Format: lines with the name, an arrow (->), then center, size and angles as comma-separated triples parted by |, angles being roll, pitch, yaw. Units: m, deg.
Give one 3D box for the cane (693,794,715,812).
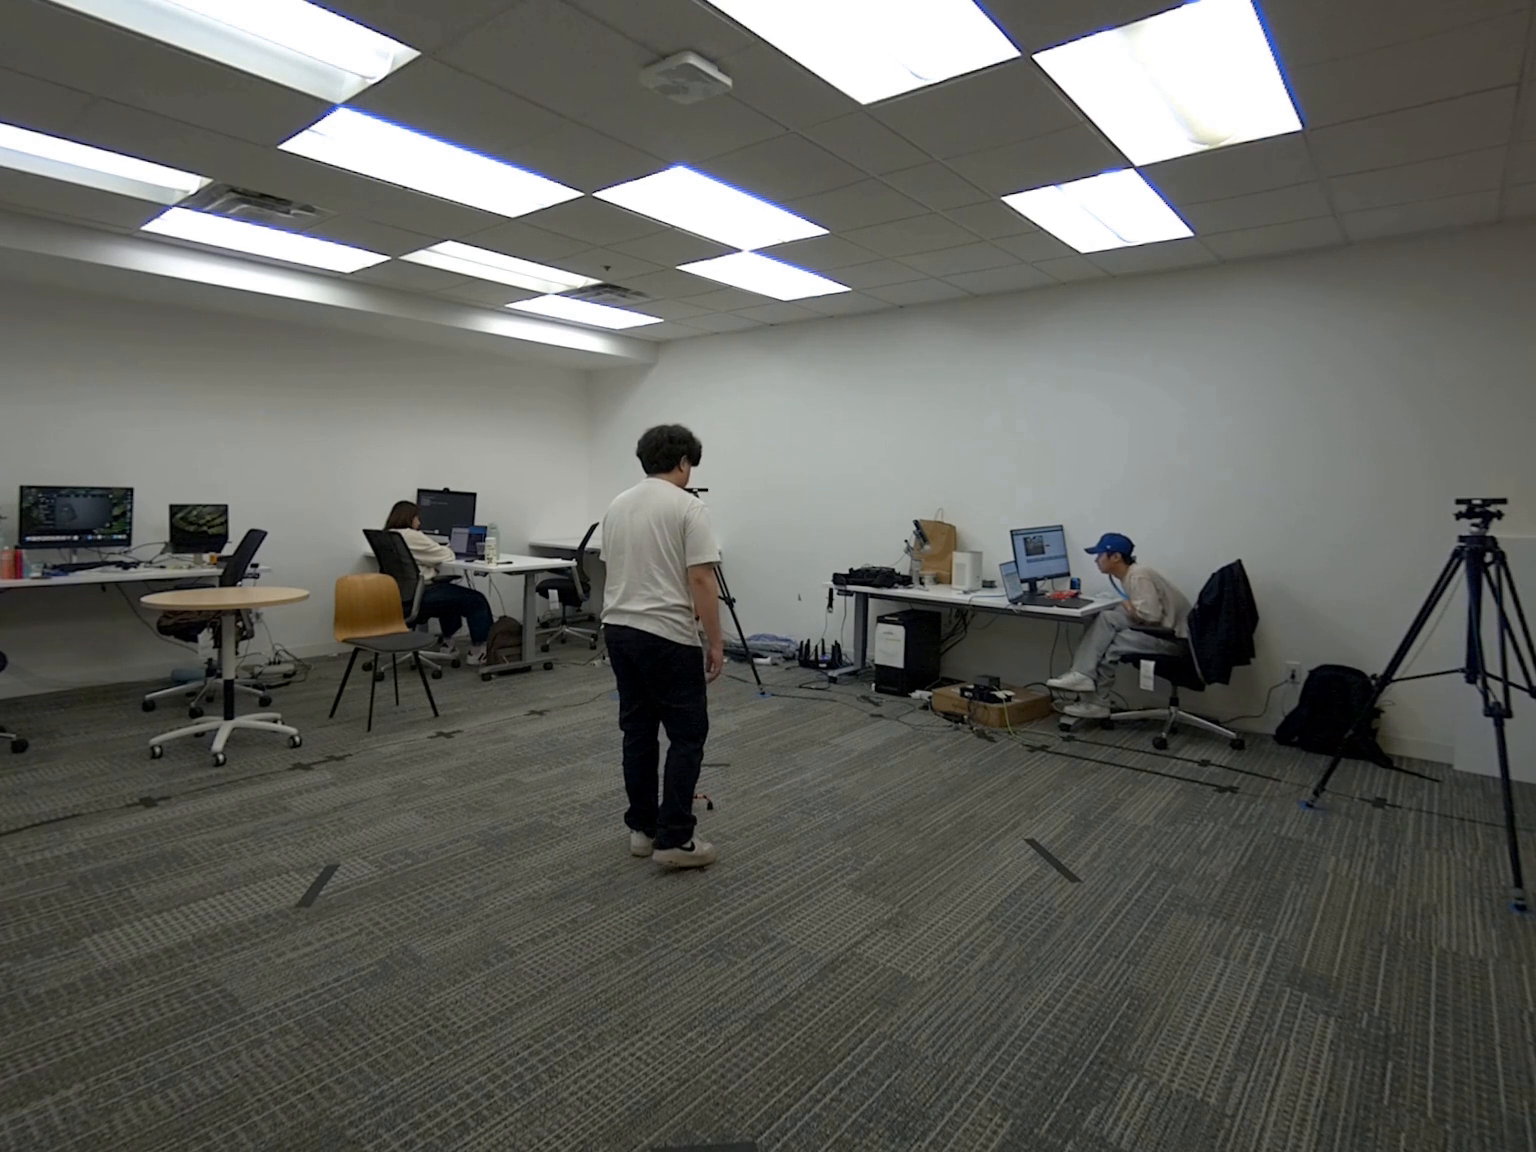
cane -> -0.345, 0.557, 3.656 | 0.157, 0.906, 0.200 | 4, 3, 43
